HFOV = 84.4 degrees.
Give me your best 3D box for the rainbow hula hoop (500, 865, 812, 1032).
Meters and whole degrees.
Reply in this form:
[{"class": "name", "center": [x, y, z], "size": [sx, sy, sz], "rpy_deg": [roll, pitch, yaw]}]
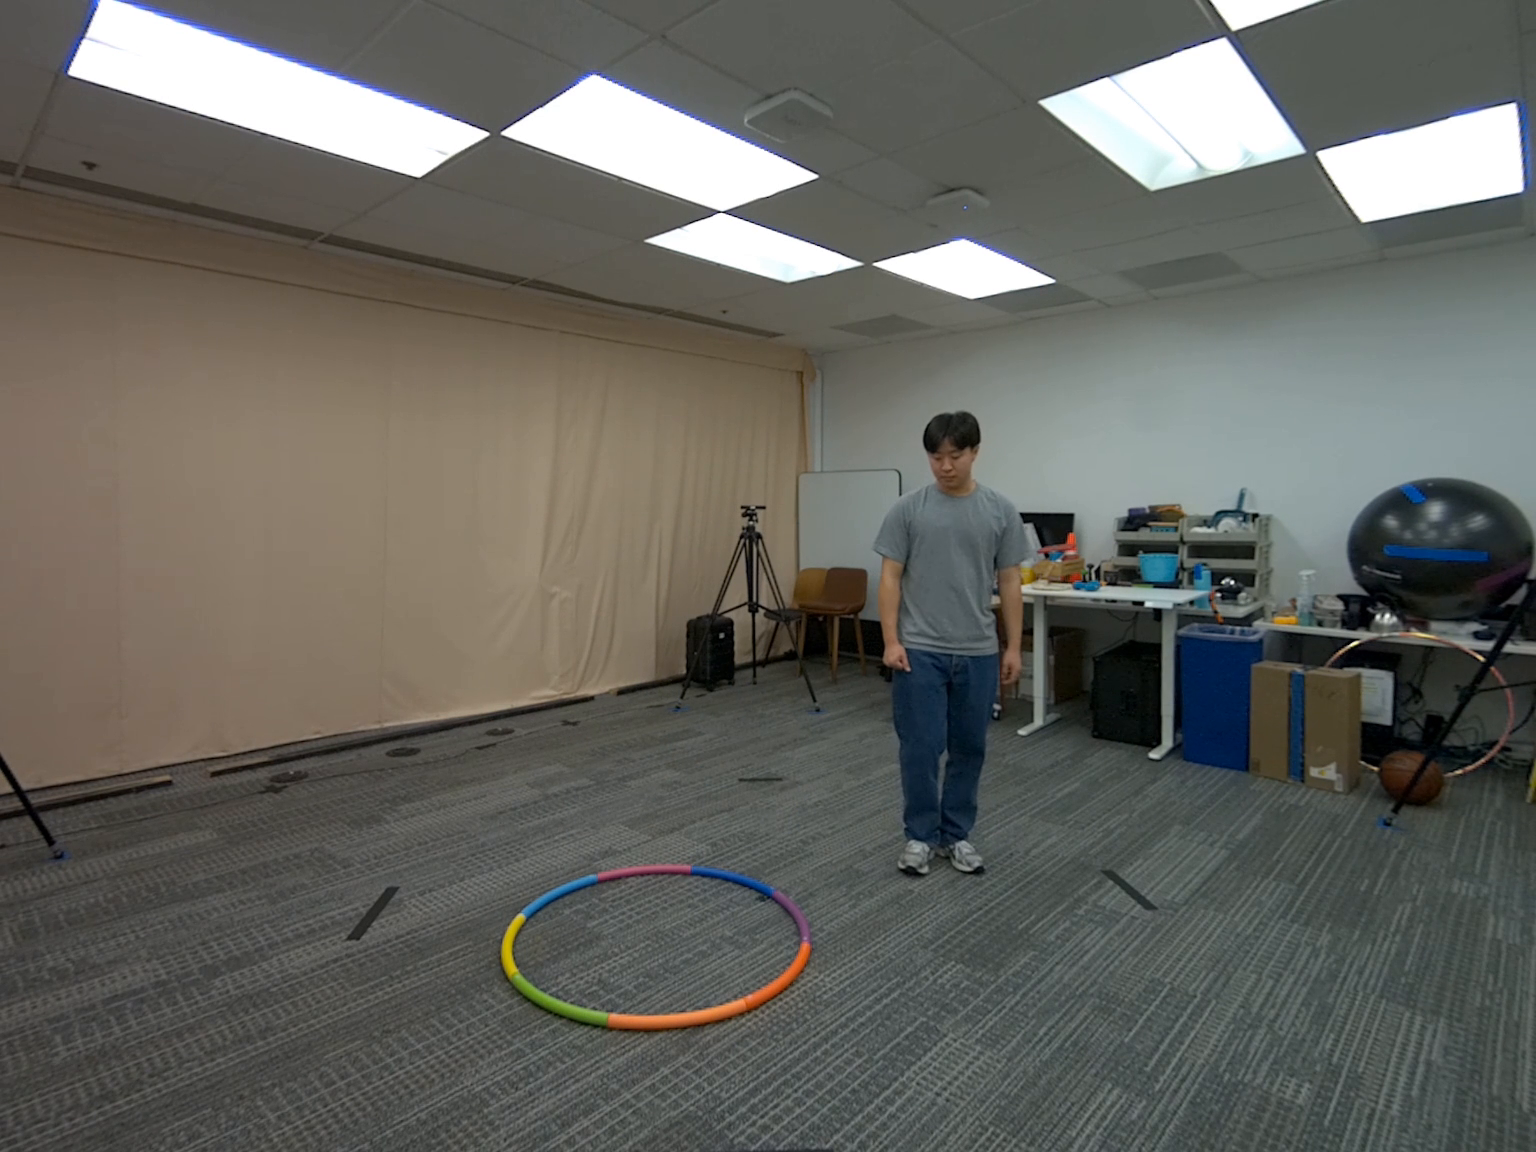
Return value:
[{"class": "rainbow hula hoop", "center": [-0.353, 1.140, 2.722], "size": [0.978, 0.035, 0.982], "rpy_deg": [-1, 5, -2]}]
